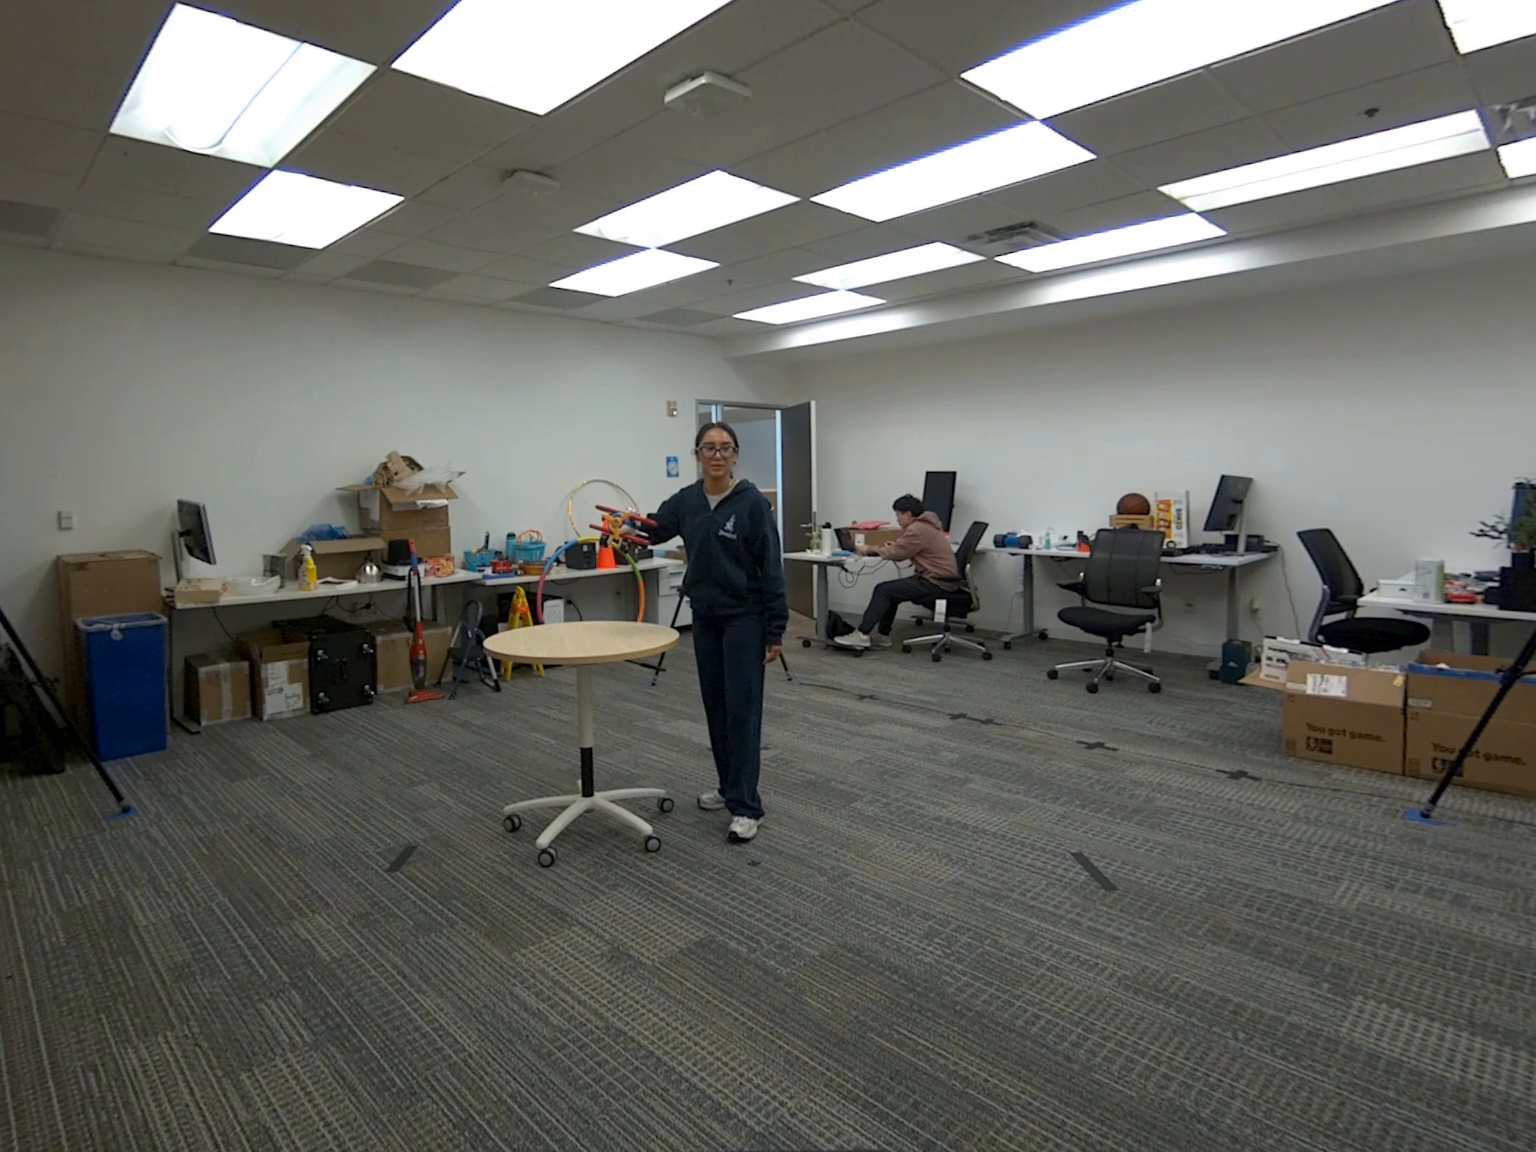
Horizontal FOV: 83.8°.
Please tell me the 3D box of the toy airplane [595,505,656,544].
[{"bbox_3d":[-0.582,-0.192,3.376,0.247,0.155,0.266,11,13,-16],"label":"toy airplane"}]
